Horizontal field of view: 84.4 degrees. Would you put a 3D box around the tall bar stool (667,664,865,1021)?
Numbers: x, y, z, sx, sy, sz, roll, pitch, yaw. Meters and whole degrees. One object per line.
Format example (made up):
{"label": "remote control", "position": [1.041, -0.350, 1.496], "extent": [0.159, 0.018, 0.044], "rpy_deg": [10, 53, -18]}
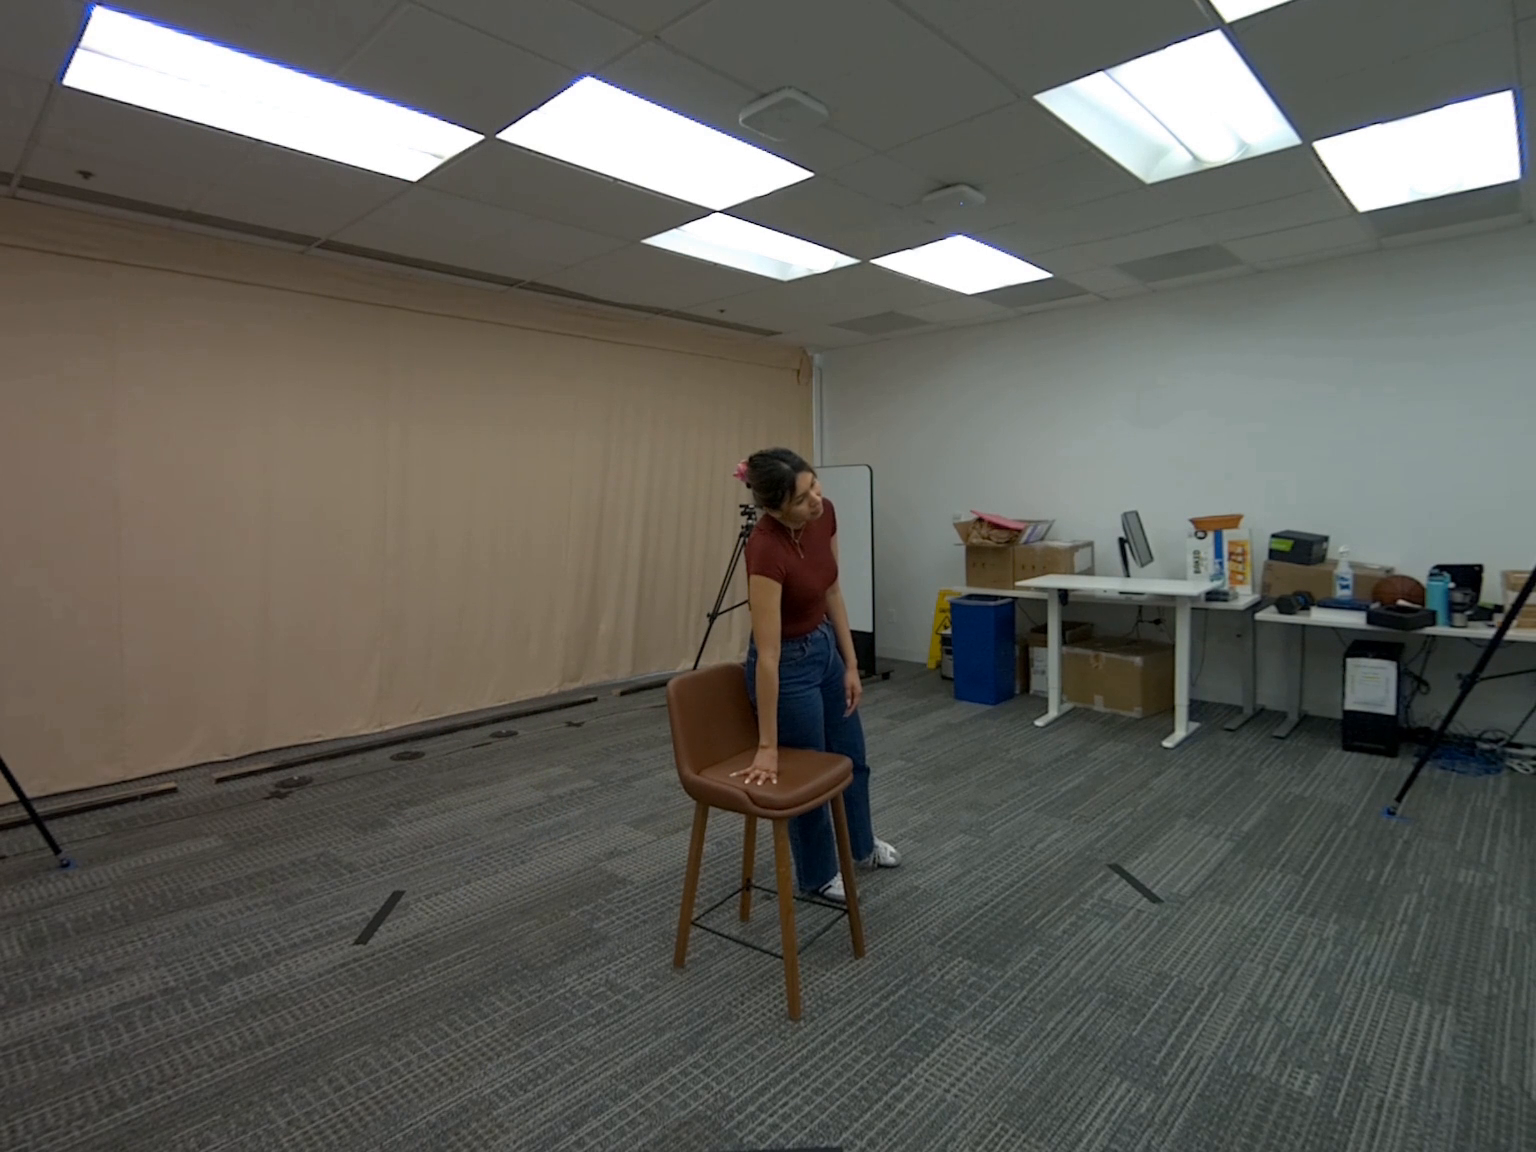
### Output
{"label": "tall bar stool", "position": [-0.014, 0.749, 2.532], "extent": [0.482, 0.888, 0.443], "rpy_deg": [0, 3, 36]}
